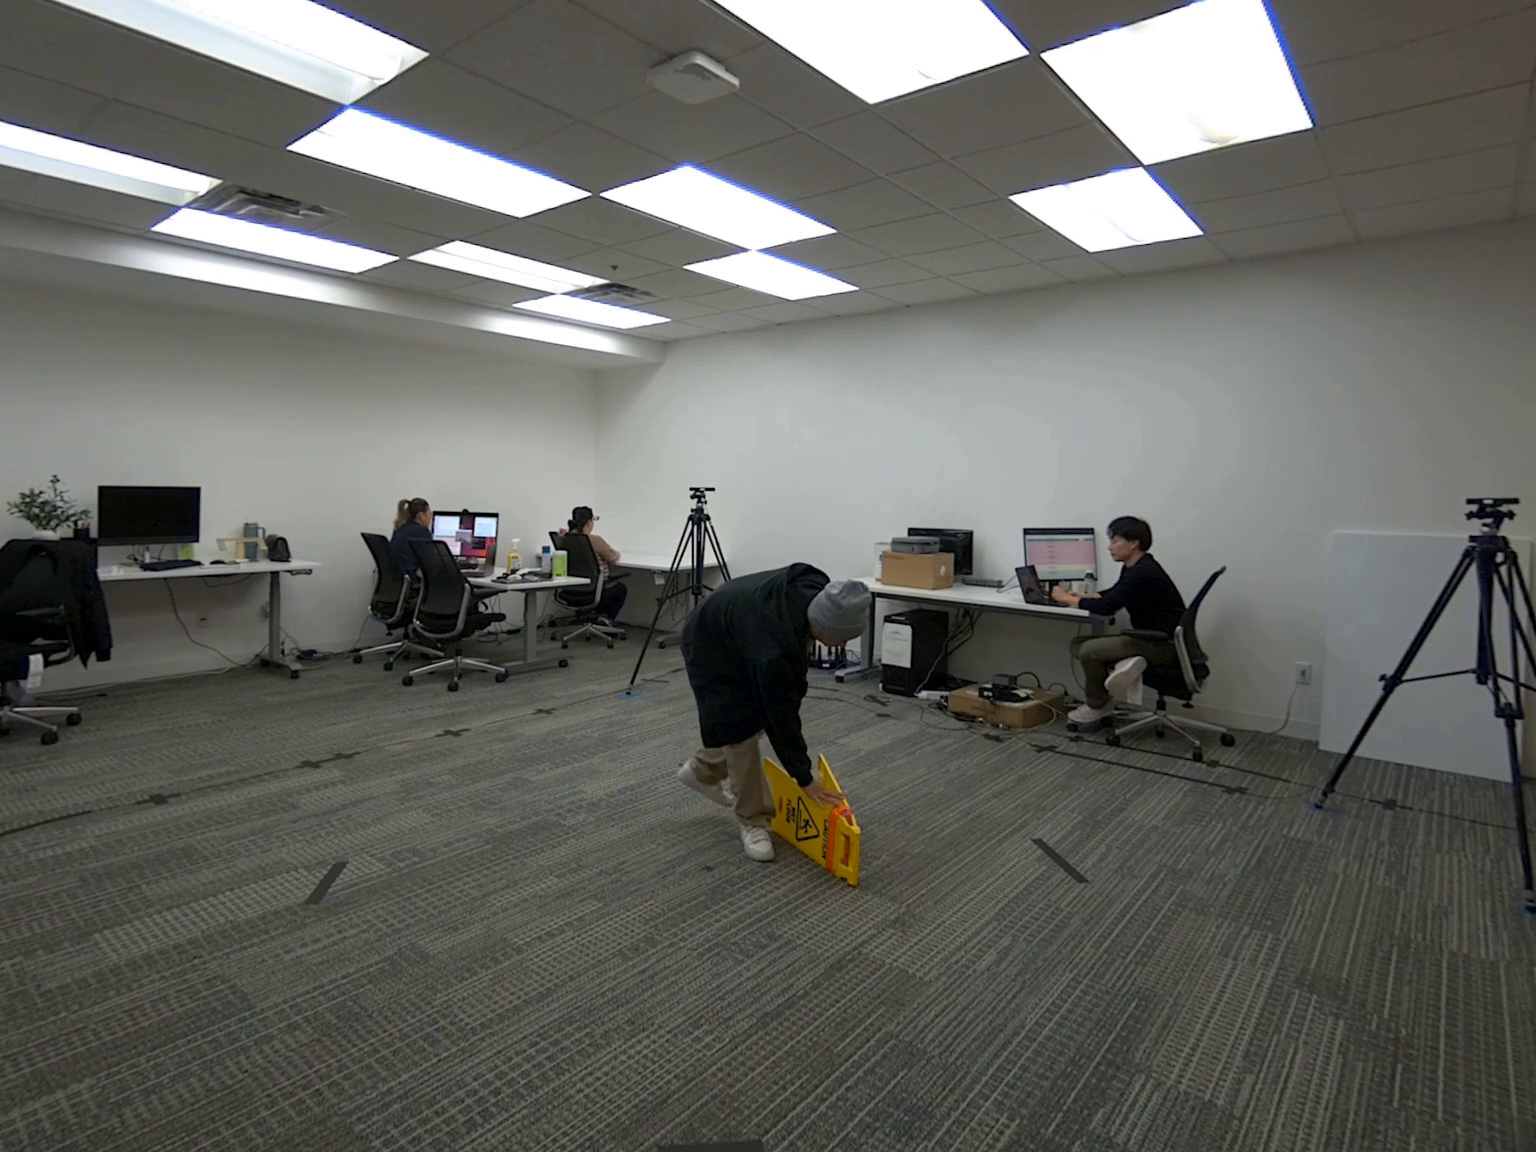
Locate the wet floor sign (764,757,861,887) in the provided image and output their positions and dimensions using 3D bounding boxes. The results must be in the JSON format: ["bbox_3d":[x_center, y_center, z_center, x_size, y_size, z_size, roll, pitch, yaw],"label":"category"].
[{"bbox_3d":[0.205,0.934,3.276,0.284,0.280,0.662,0,8,-19],"label":"wet floor sign"}]
